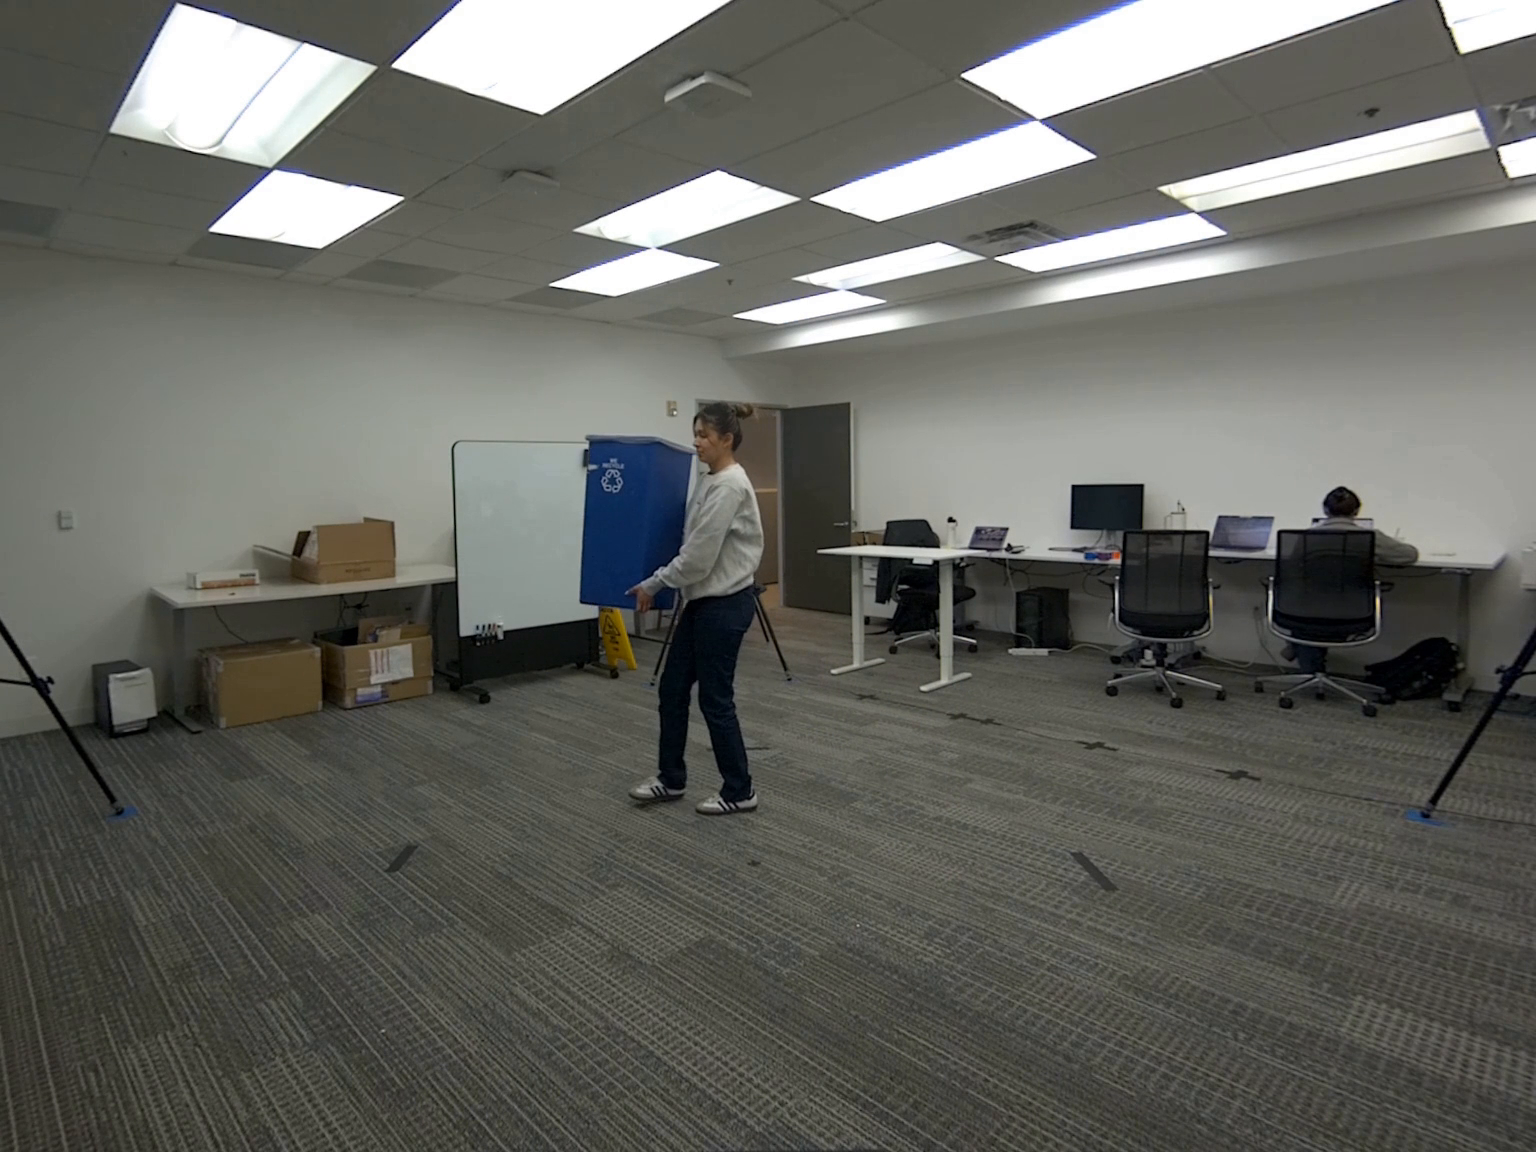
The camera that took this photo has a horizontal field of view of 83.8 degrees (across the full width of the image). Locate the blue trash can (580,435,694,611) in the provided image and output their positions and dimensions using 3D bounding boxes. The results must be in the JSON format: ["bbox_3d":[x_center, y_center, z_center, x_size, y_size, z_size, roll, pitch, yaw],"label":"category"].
[{"bbox_3d":[-0.568,-0.228,3.677,0.383,0.714,0.369,4,-1,24],"label":"blue trash can"}]
